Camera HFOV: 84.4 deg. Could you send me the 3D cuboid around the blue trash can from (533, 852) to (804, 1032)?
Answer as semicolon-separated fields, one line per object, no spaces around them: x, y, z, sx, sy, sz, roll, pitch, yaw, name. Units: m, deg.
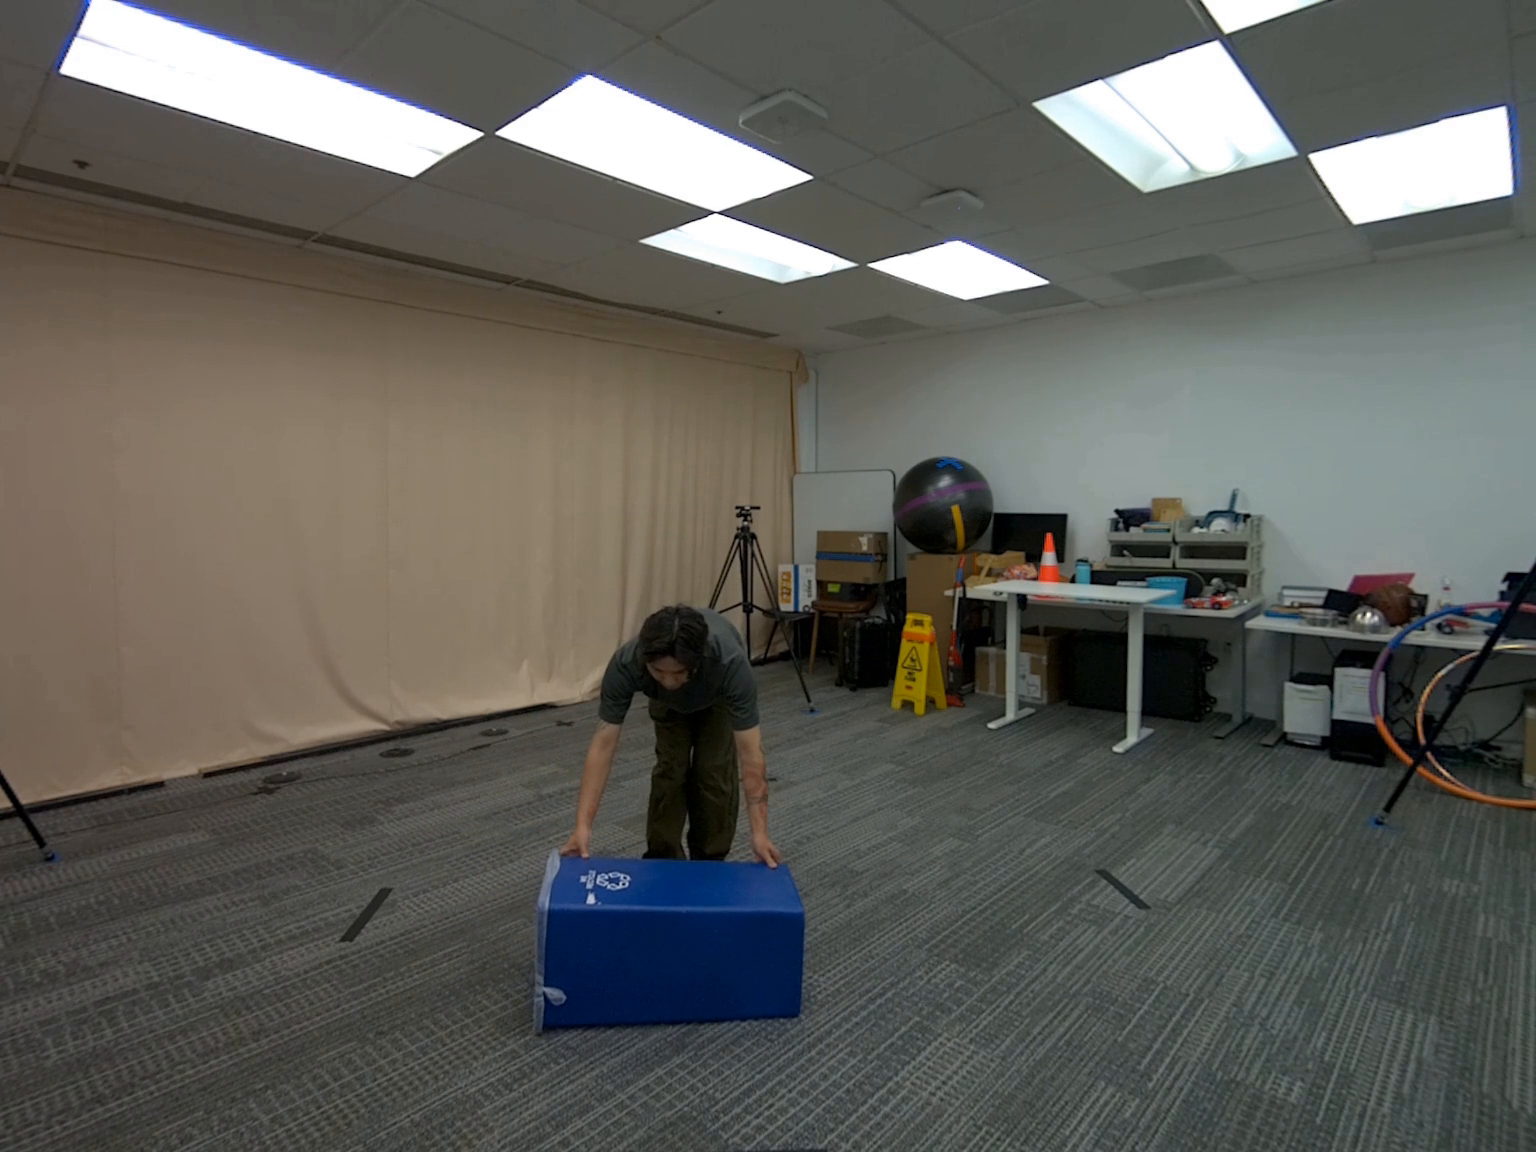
-0.280;1.022;2.399;0.709;0.373;0.381;1;2;-6;blue trash can
